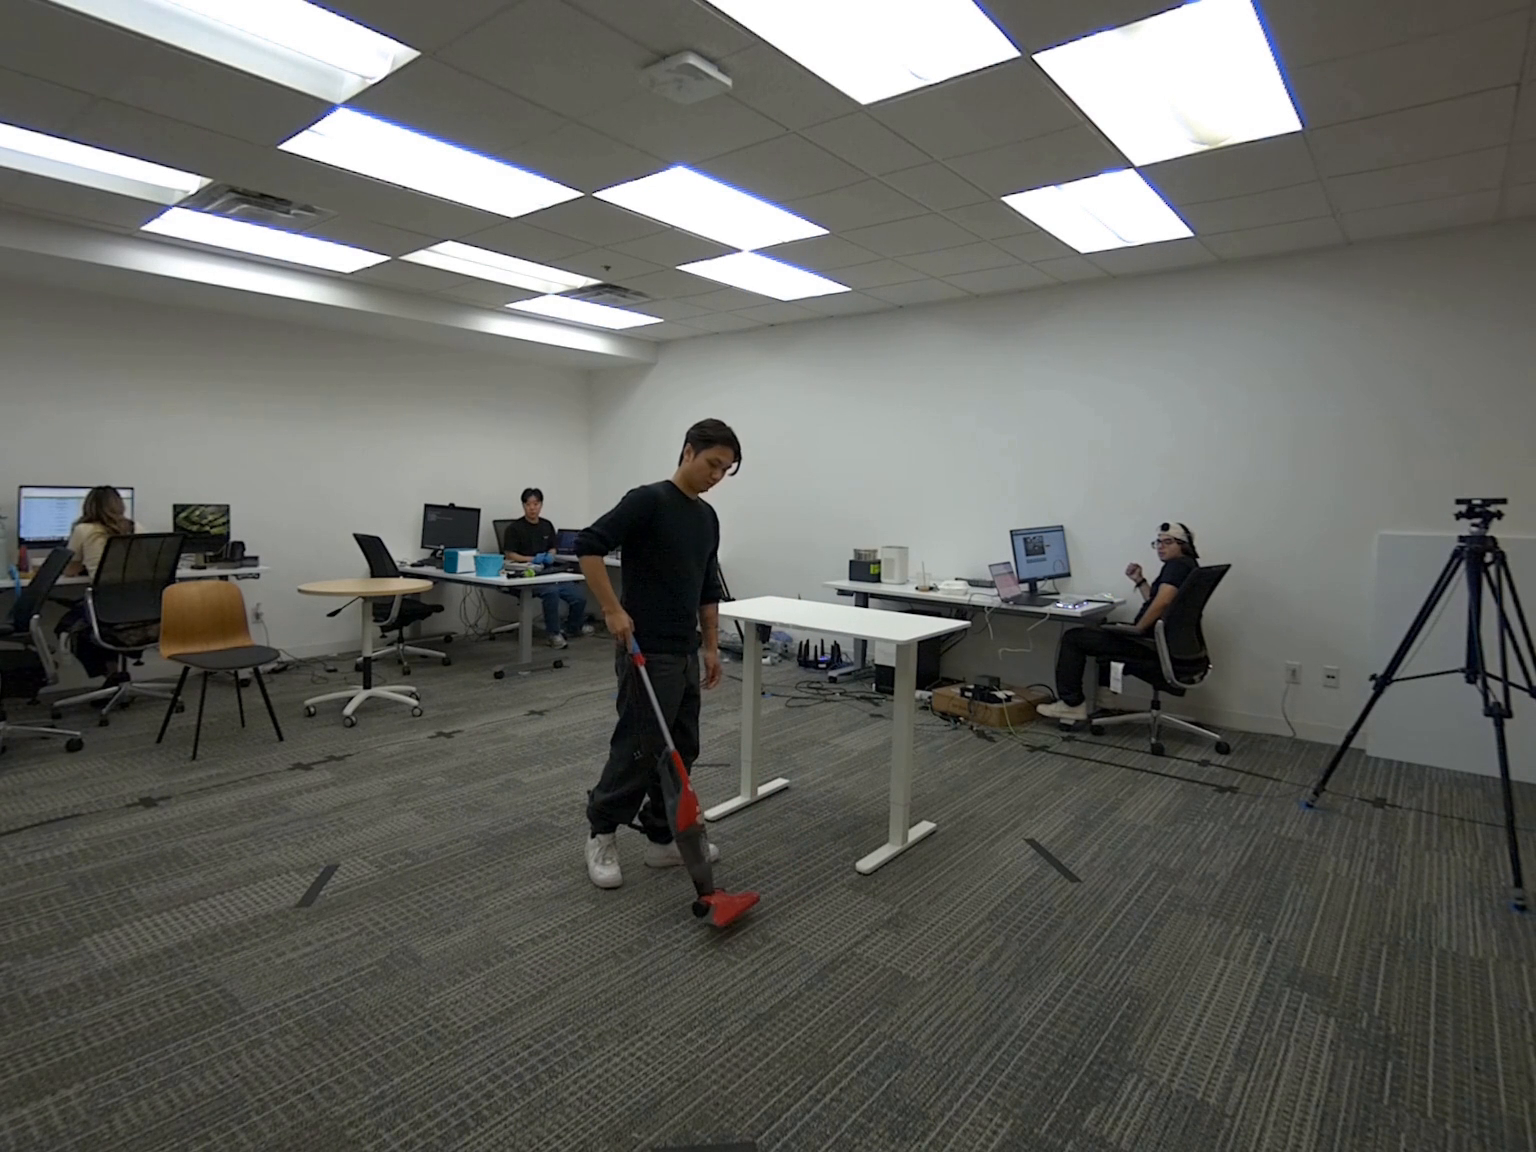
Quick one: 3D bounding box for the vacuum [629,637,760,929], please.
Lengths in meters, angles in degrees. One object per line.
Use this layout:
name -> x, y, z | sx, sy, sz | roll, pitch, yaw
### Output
vacuum -> -0.351, 0.595, 2.821 | 0.145, 1.066, 0.246 | -31, -14, 33
